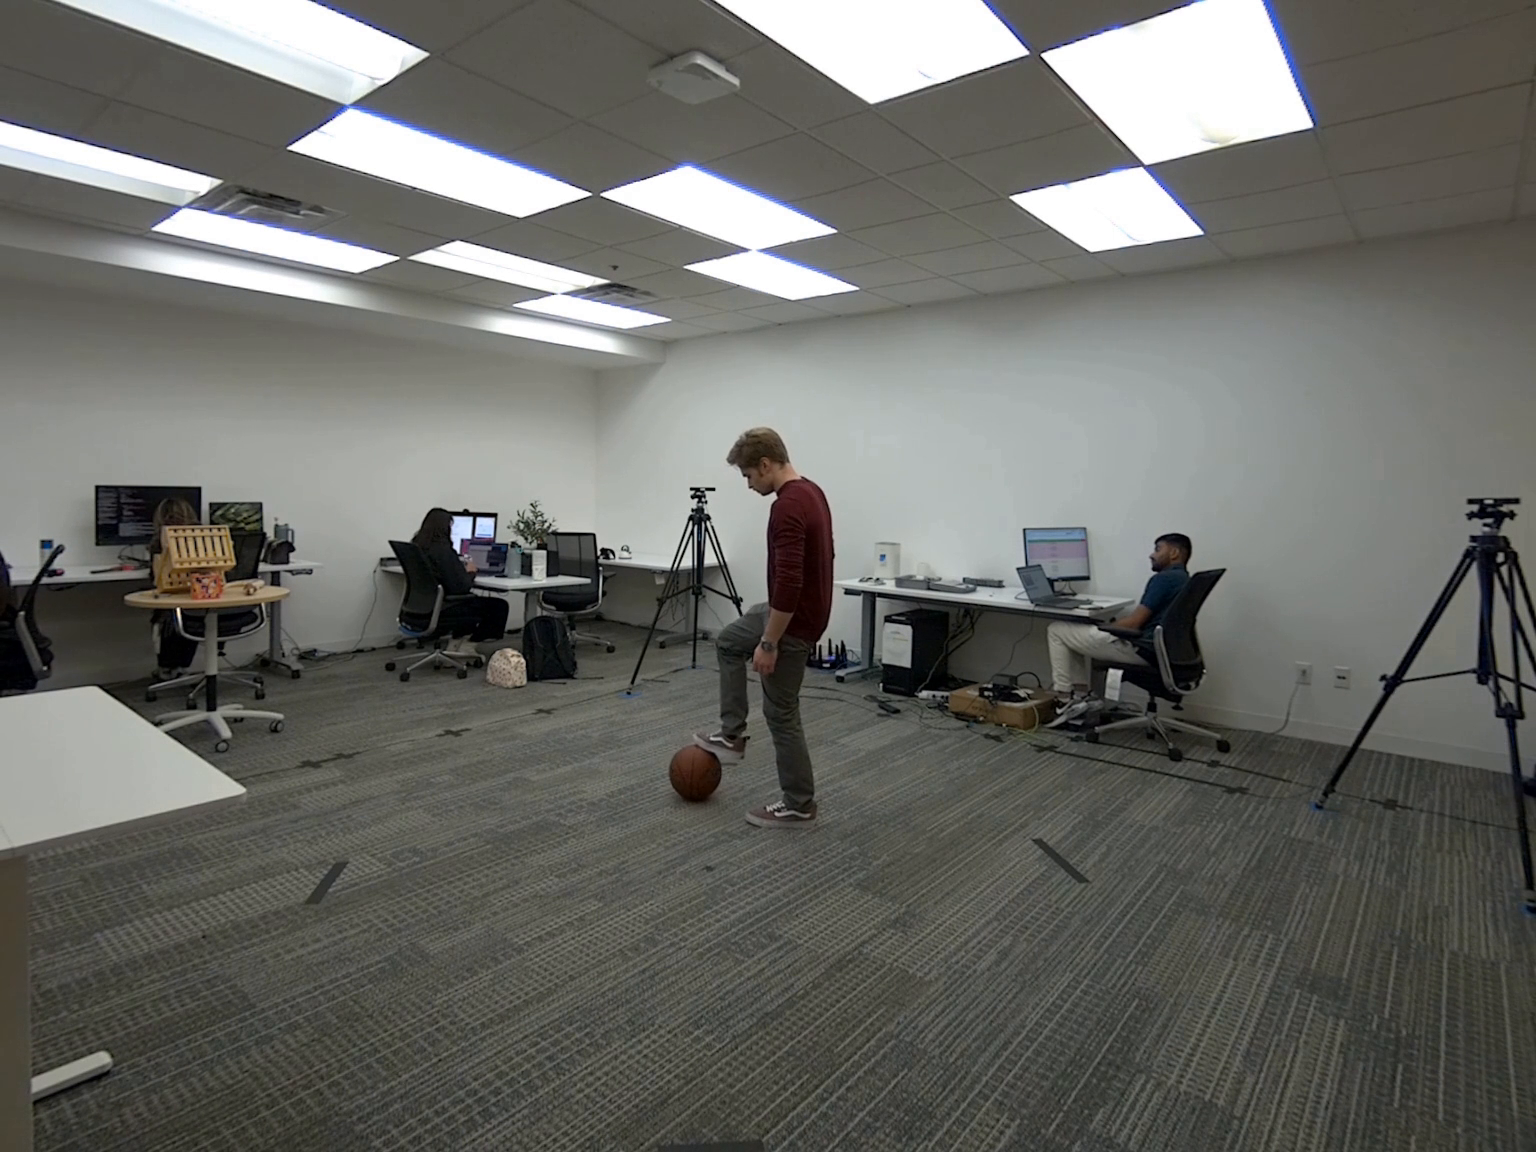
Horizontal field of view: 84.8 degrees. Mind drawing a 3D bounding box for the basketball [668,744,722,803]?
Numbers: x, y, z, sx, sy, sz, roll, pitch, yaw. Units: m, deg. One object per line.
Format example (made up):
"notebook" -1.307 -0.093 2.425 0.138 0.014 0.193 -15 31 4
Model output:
"basketball" -0.340 0.875 3.819 0.235 0.235 0.237 1 4 -2
